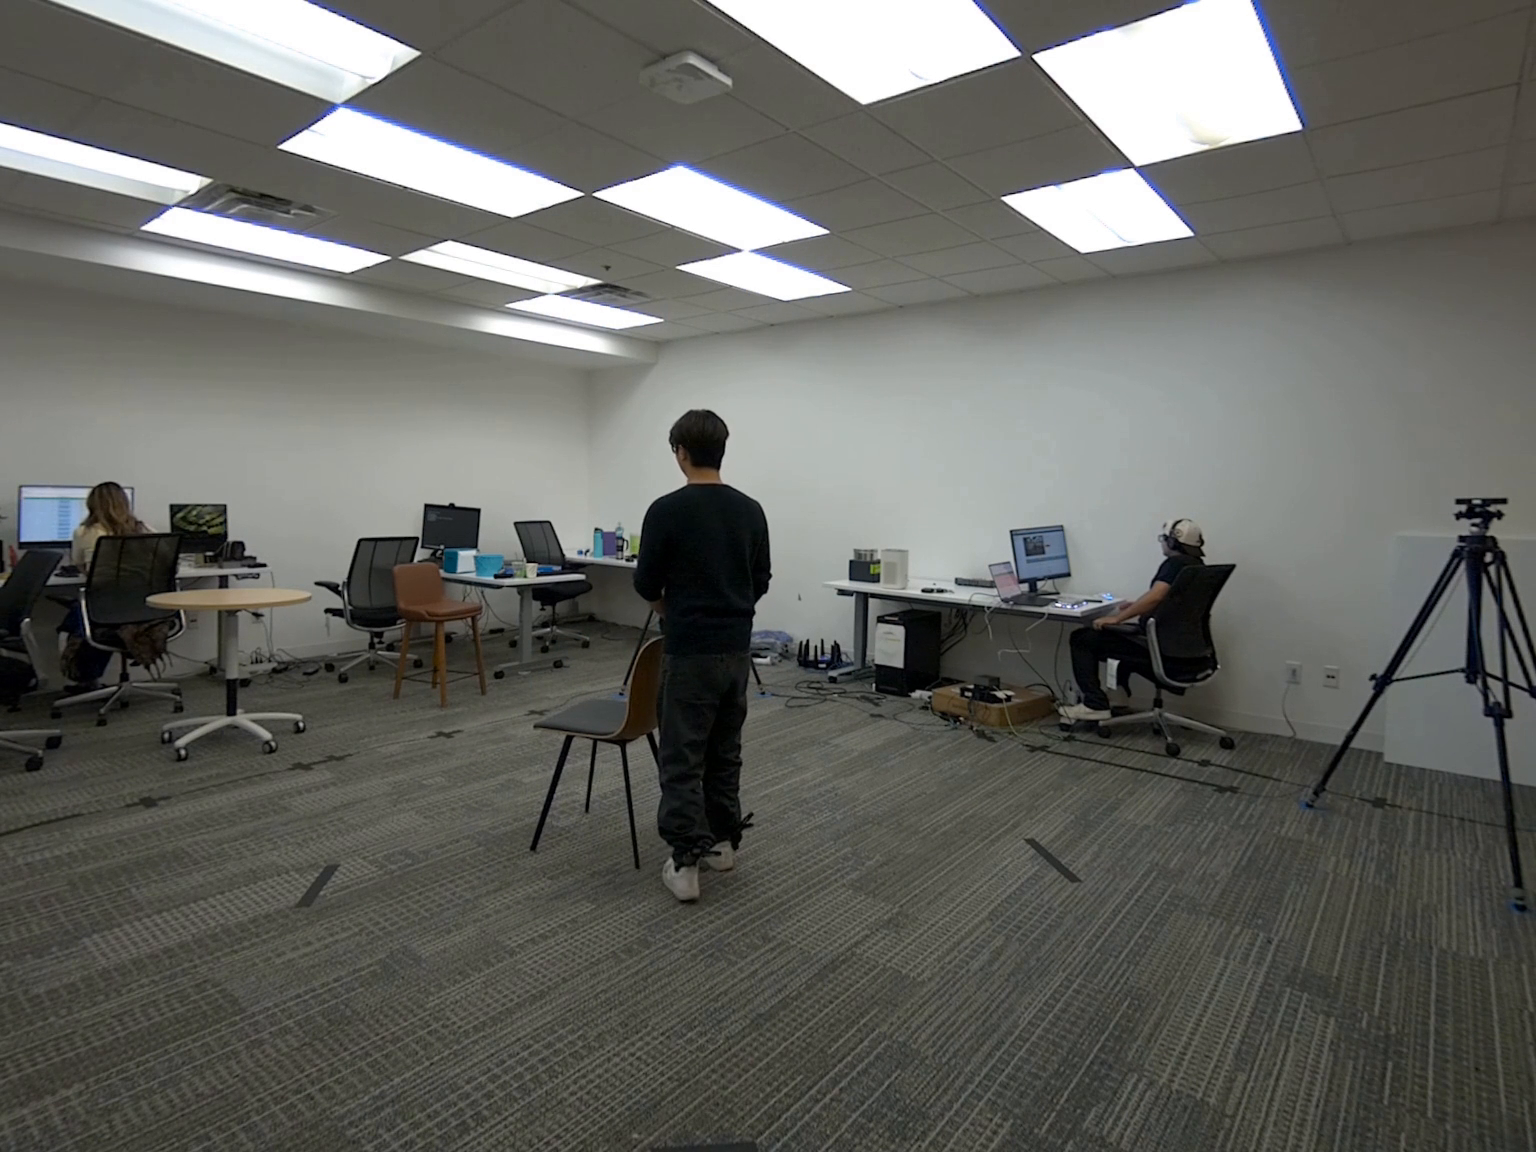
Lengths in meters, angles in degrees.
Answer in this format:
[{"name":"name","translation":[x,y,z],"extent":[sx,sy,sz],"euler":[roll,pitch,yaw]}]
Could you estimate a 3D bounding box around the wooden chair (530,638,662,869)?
[{"name":"wooden chair","translation":[-0.639,0.611,3.346],"extent":[0.534,0.874,0.470],"euler":[7,5,17]}]
